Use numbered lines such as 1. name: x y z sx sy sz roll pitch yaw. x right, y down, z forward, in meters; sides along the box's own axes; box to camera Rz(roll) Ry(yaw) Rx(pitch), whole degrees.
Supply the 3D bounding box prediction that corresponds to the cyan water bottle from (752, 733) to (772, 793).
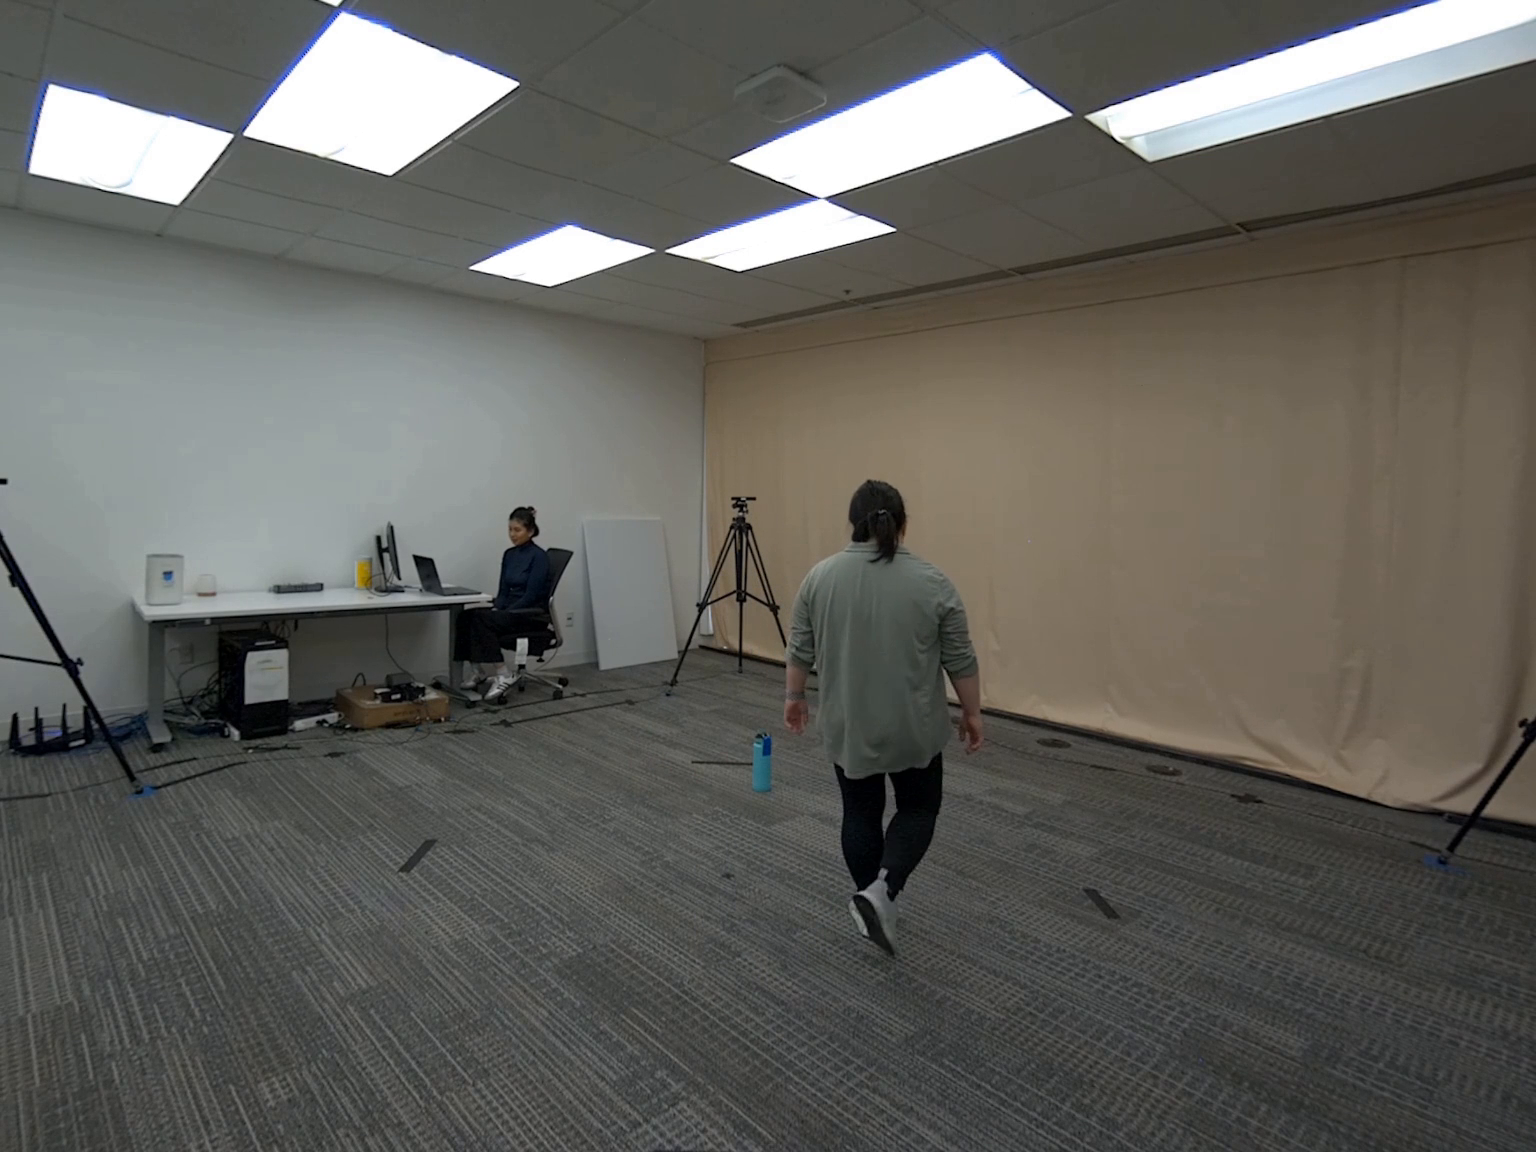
1. cyan water bottle: -0.035 0.888 4.063 0.092 0.283 0.092 3 4 -2
